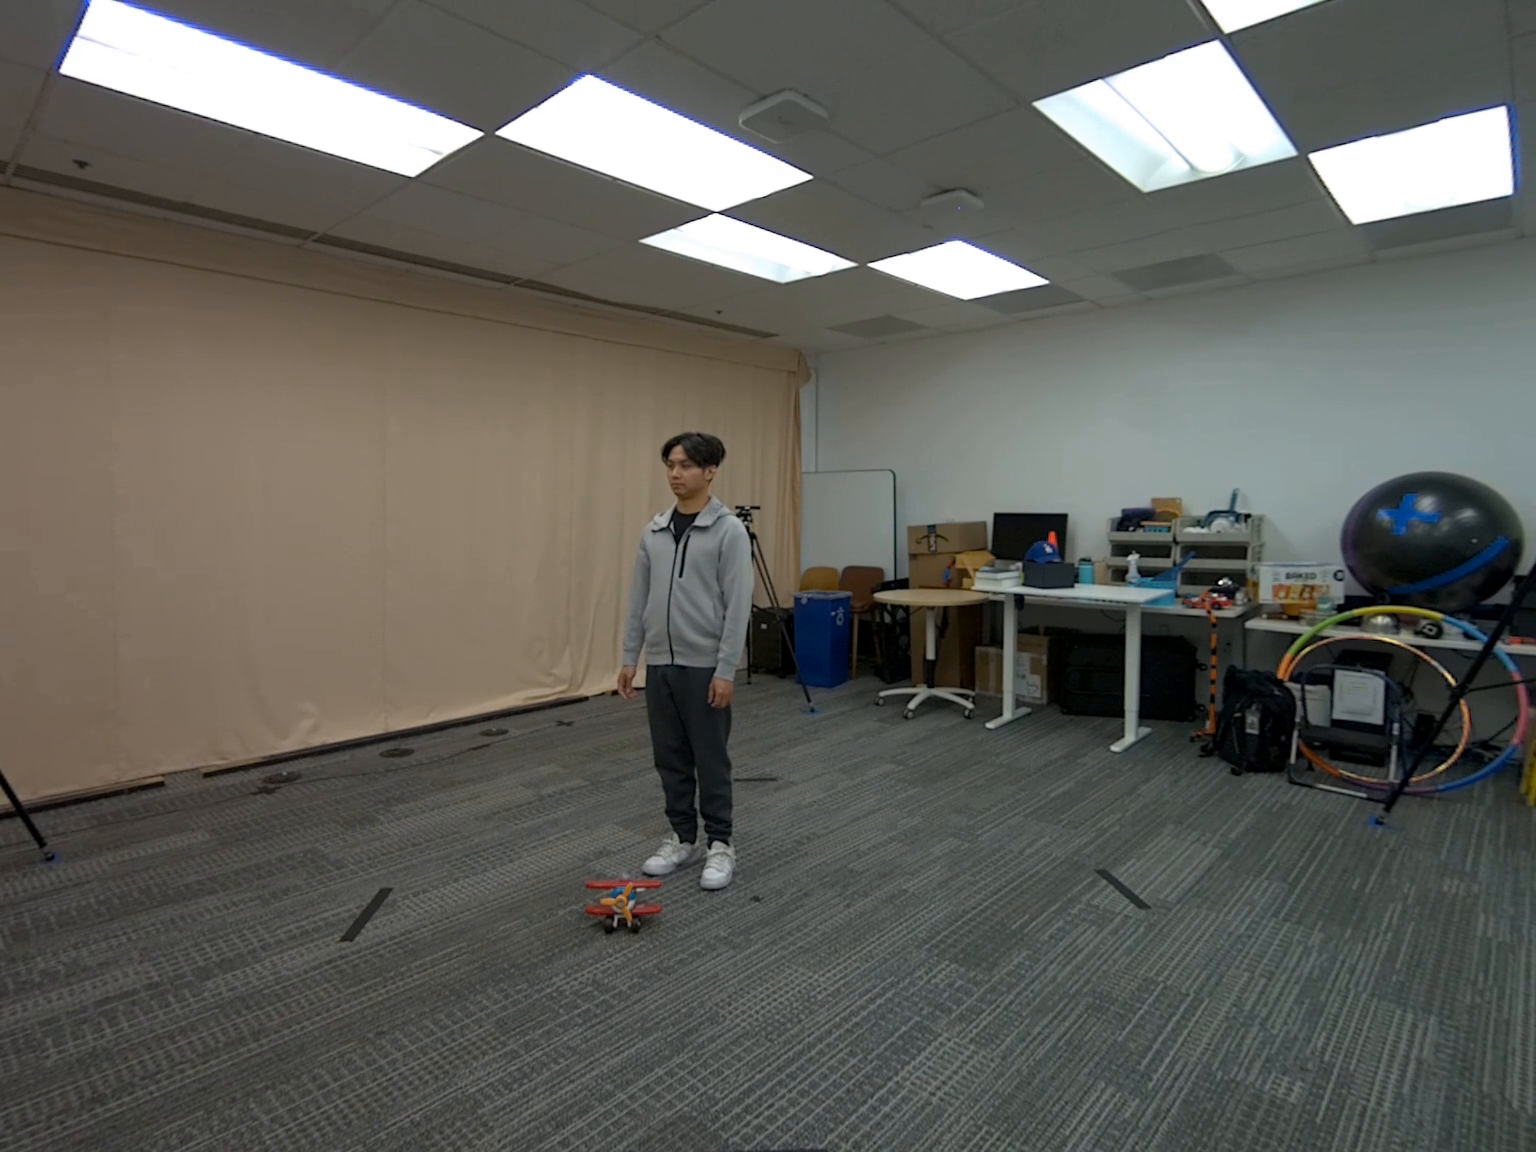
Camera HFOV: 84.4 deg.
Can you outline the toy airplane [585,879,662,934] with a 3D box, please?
[{"bbox_3d":[-0.500,1.081,2.839,0.245,0.156,0.266,-3,5,-28],"label":"toy airplane"}]
